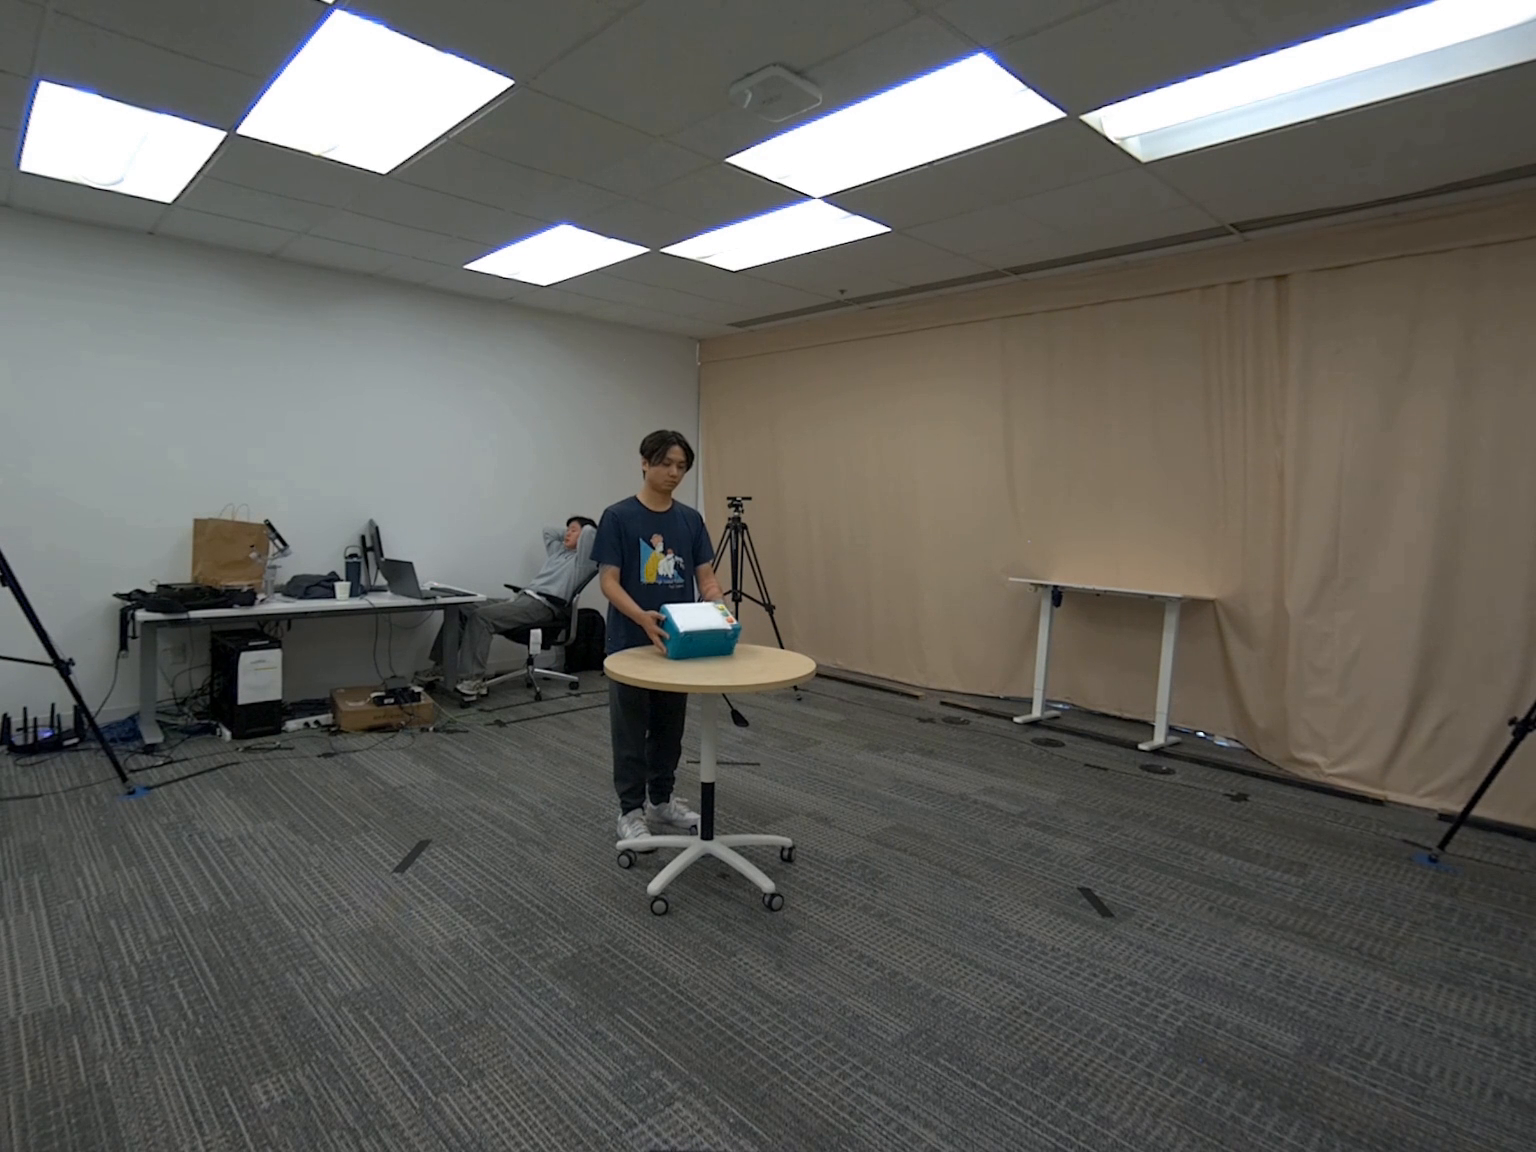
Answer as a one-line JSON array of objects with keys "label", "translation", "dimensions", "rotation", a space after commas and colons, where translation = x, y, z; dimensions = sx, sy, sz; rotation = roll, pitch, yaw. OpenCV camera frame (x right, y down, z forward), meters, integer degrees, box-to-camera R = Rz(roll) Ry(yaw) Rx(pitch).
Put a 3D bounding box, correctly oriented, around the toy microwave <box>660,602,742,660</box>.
[{"label": "toy microwave", "translation": [-0.267, 0.197, 3.151], "dimensions": [0.280, 0.150, 0.190], "rotation": [-1, 33, -31]}]
